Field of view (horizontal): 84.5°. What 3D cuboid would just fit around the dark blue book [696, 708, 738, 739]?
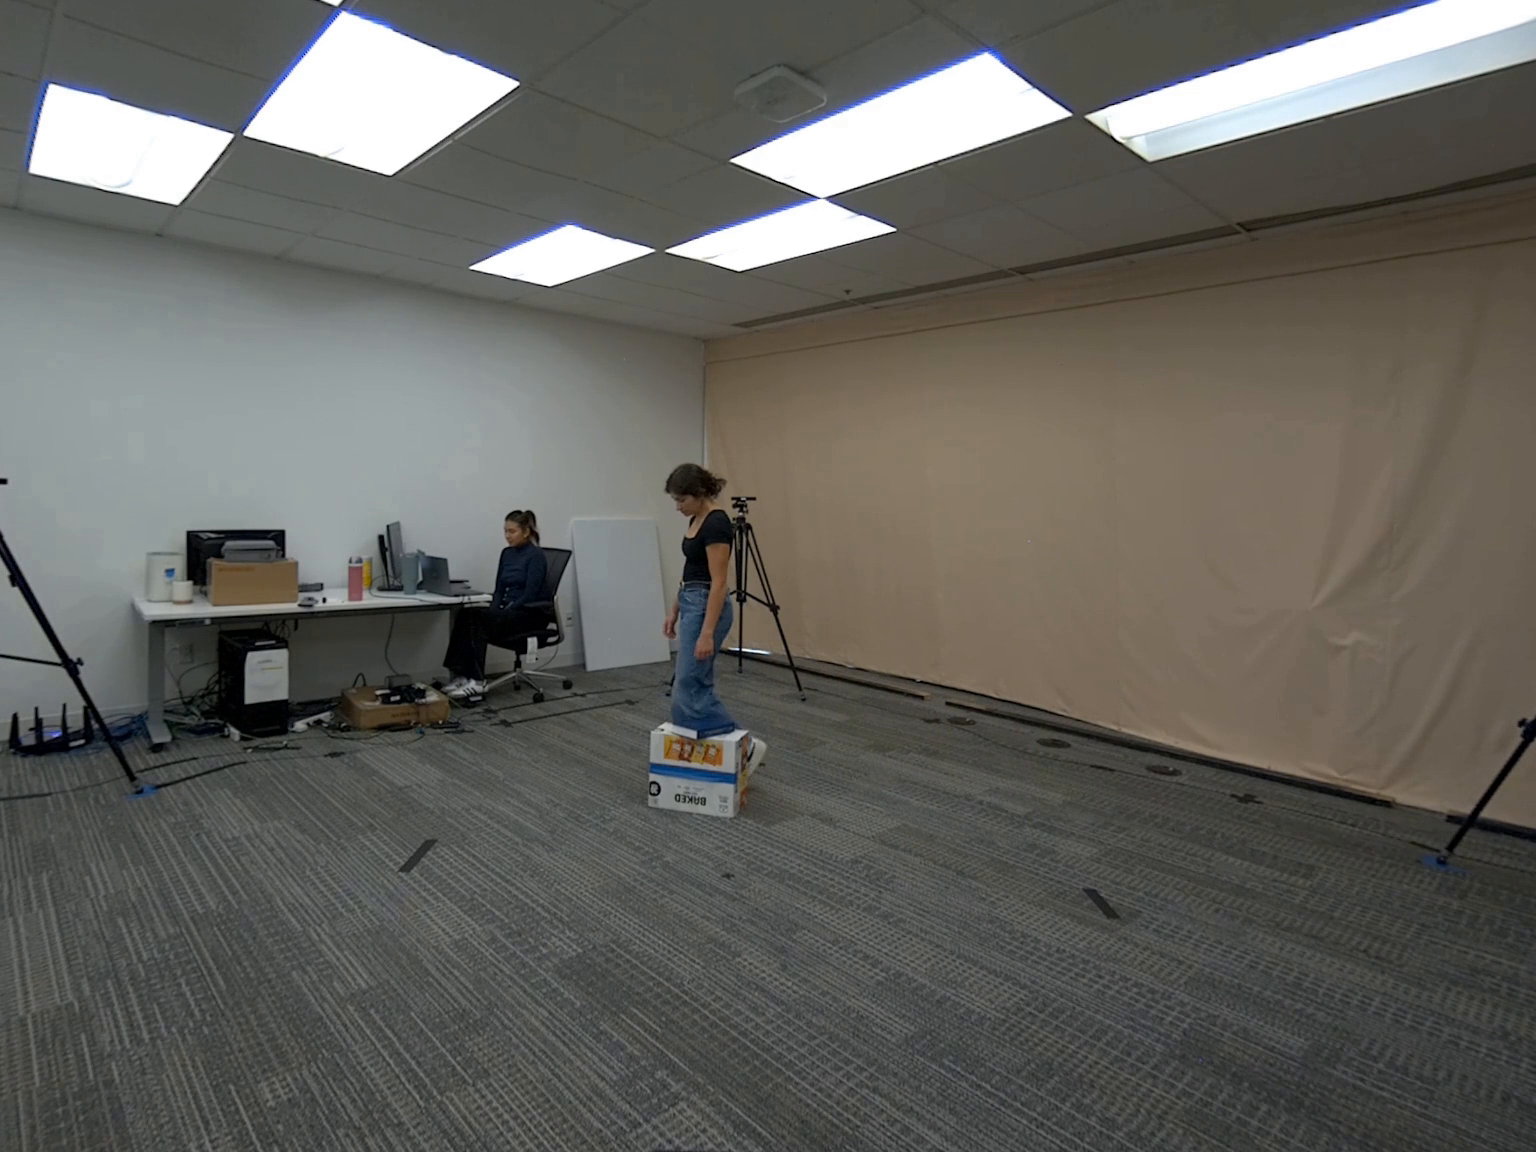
[{"bbox_3d":[-0.300,0.683,3.796,0.167,0.045,0.239,3,3,41],"label":"dark blue book"}]
